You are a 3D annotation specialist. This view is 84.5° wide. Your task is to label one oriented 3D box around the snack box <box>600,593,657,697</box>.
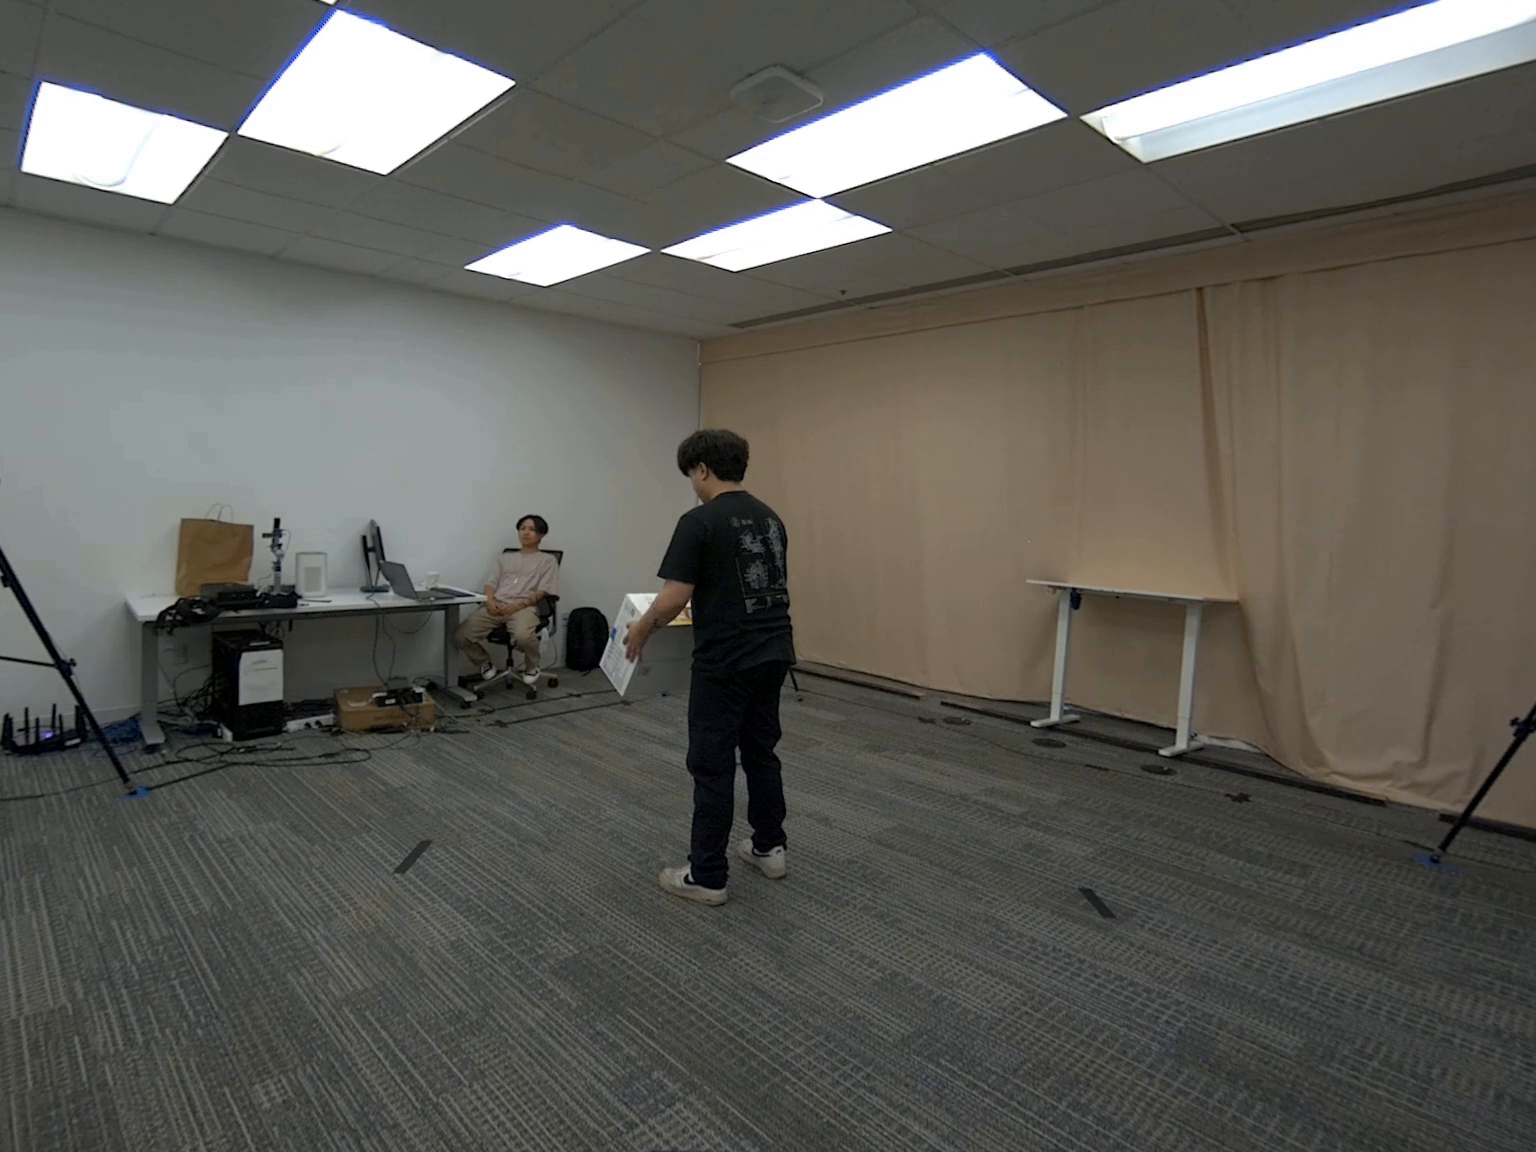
[{"bbox_3d":[-0.395,0.264,3.311,0.395,0.337,0.212,1,32,-42],"label":"snack box"}]
